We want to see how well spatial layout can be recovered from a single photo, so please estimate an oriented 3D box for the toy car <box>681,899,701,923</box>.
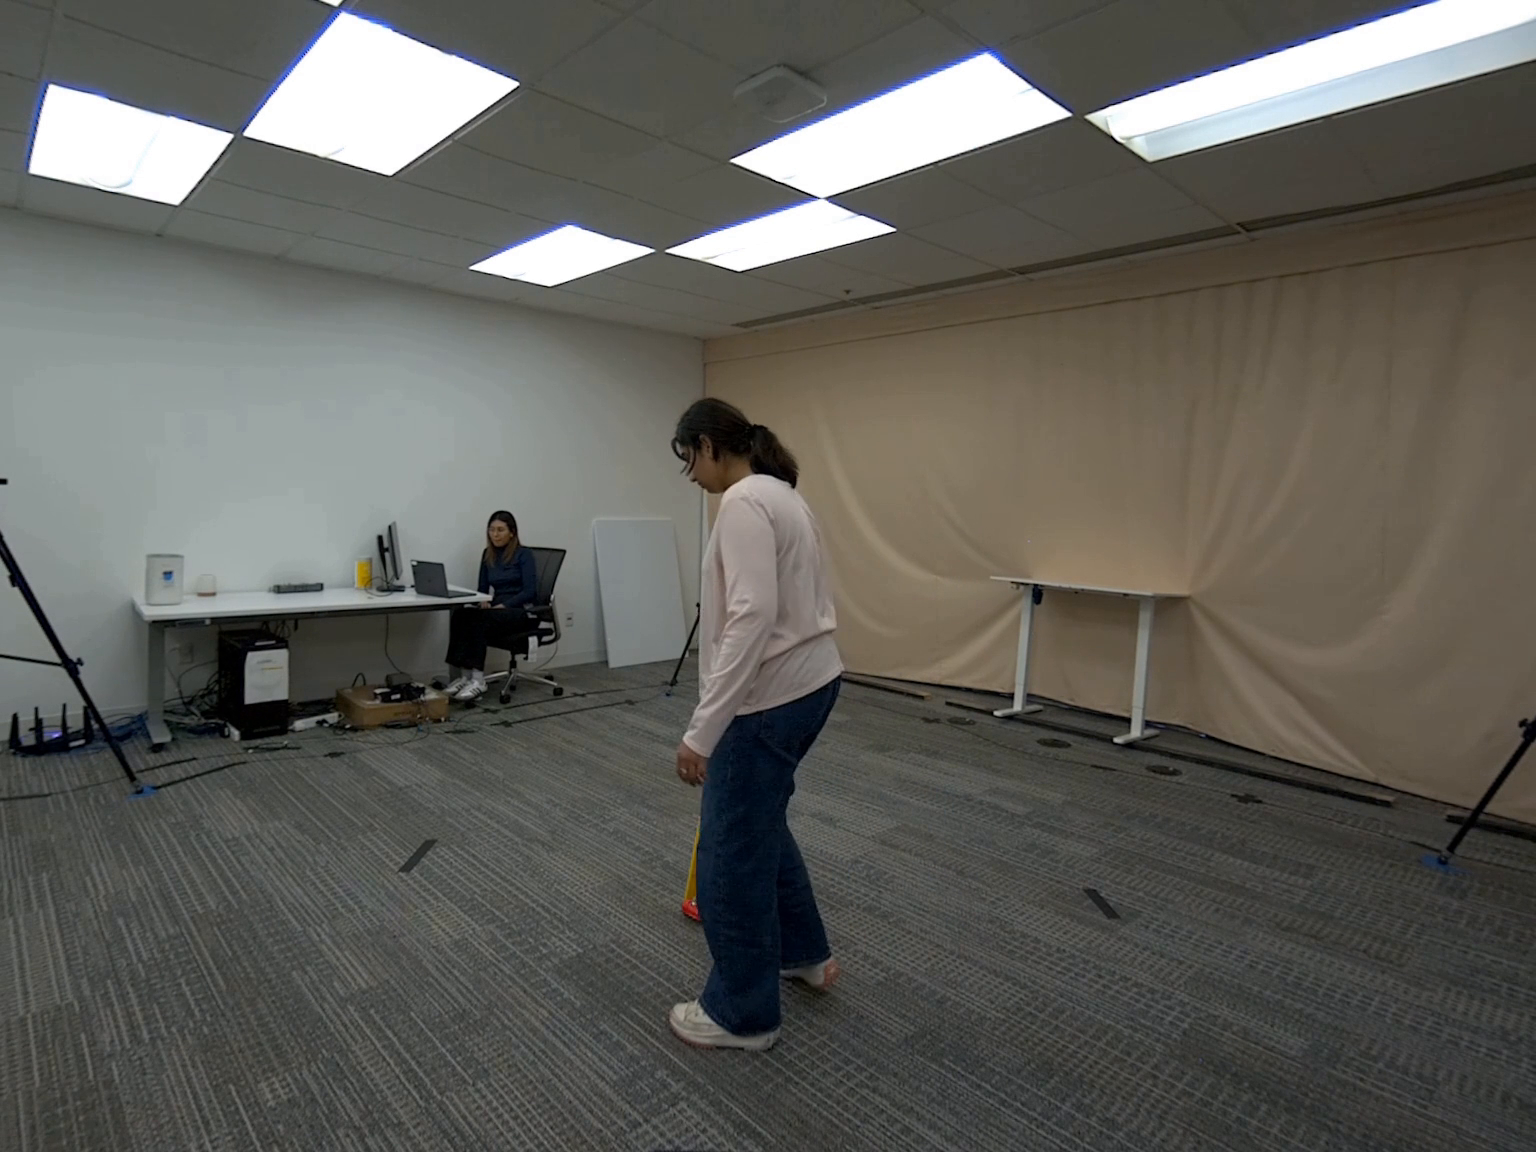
[{"bbox_3d":[-0.169,1.102,2.840,0.250,0.082,0.133,-15,12,-40],"label":"toy car"}]
